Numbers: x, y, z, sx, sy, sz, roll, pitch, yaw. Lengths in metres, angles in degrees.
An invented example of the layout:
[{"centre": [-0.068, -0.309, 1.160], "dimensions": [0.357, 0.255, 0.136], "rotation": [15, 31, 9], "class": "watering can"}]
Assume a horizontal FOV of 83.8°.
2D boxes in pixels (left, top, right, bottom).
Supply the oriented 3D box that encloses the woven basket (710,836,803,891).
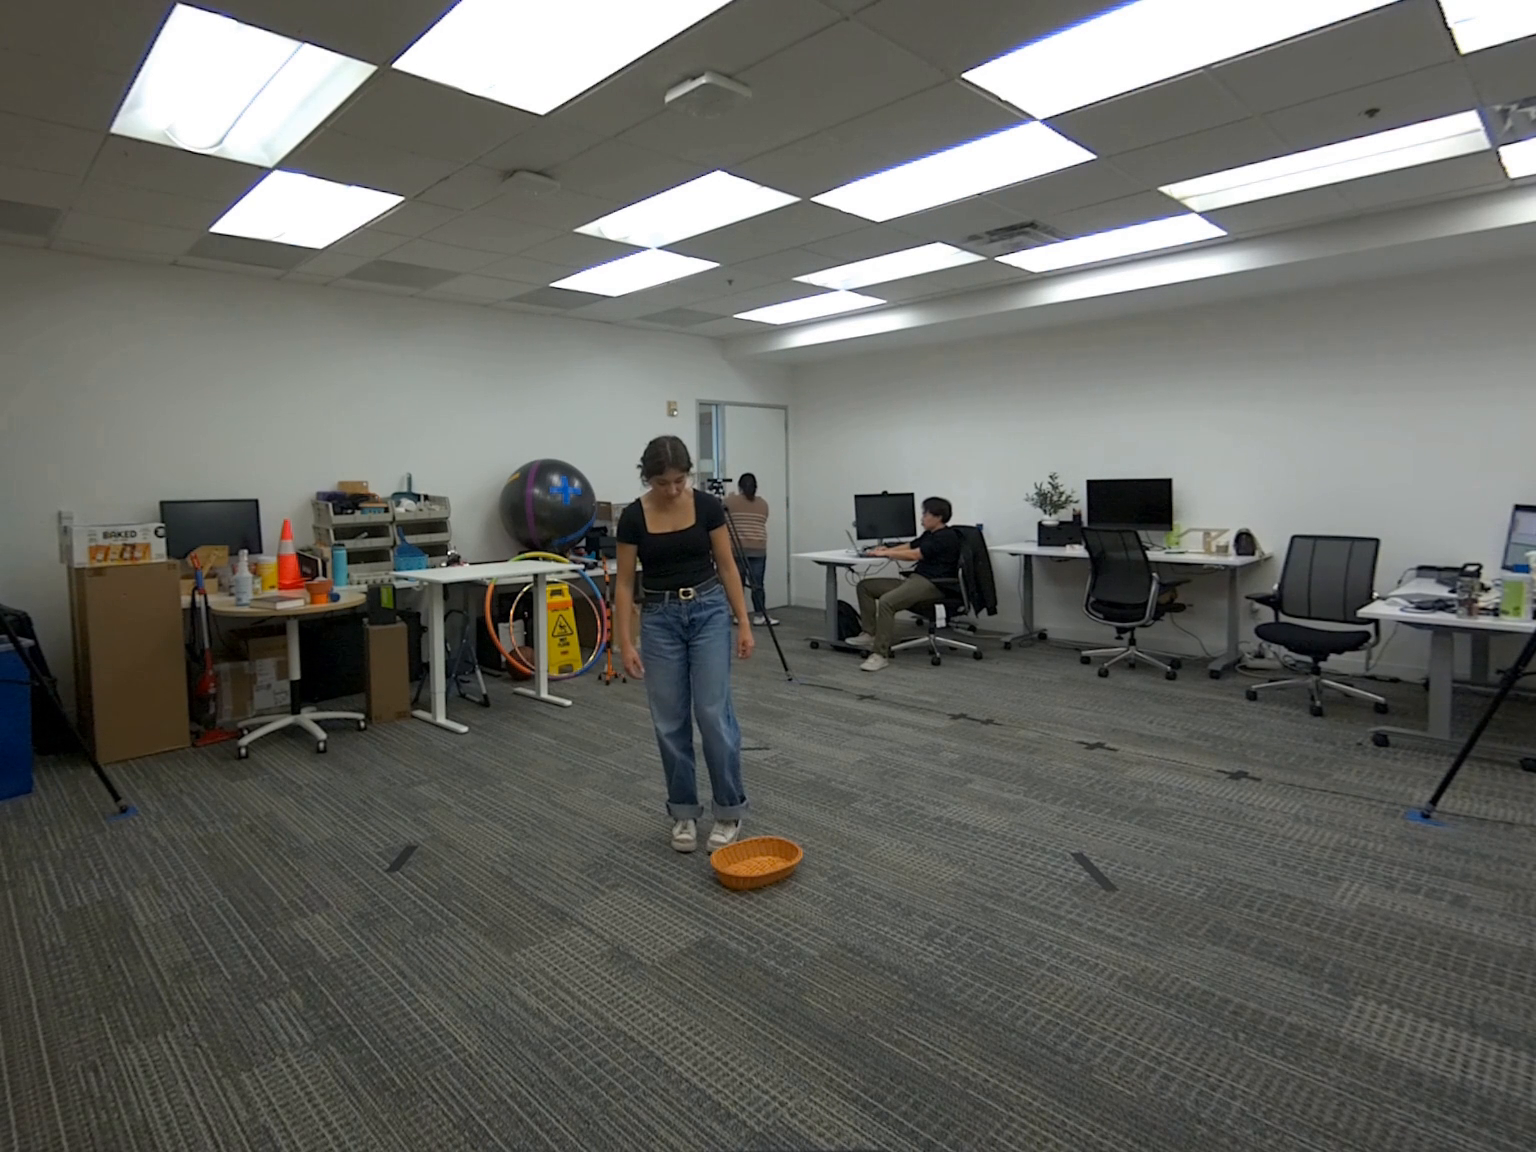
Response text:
[{"centre": [-0.041, 1.016, 3.017], "dimensions": [0.342, 0.073, 0.260], "rotation": [-4, 8, -32], "class": "woven basket"}]
